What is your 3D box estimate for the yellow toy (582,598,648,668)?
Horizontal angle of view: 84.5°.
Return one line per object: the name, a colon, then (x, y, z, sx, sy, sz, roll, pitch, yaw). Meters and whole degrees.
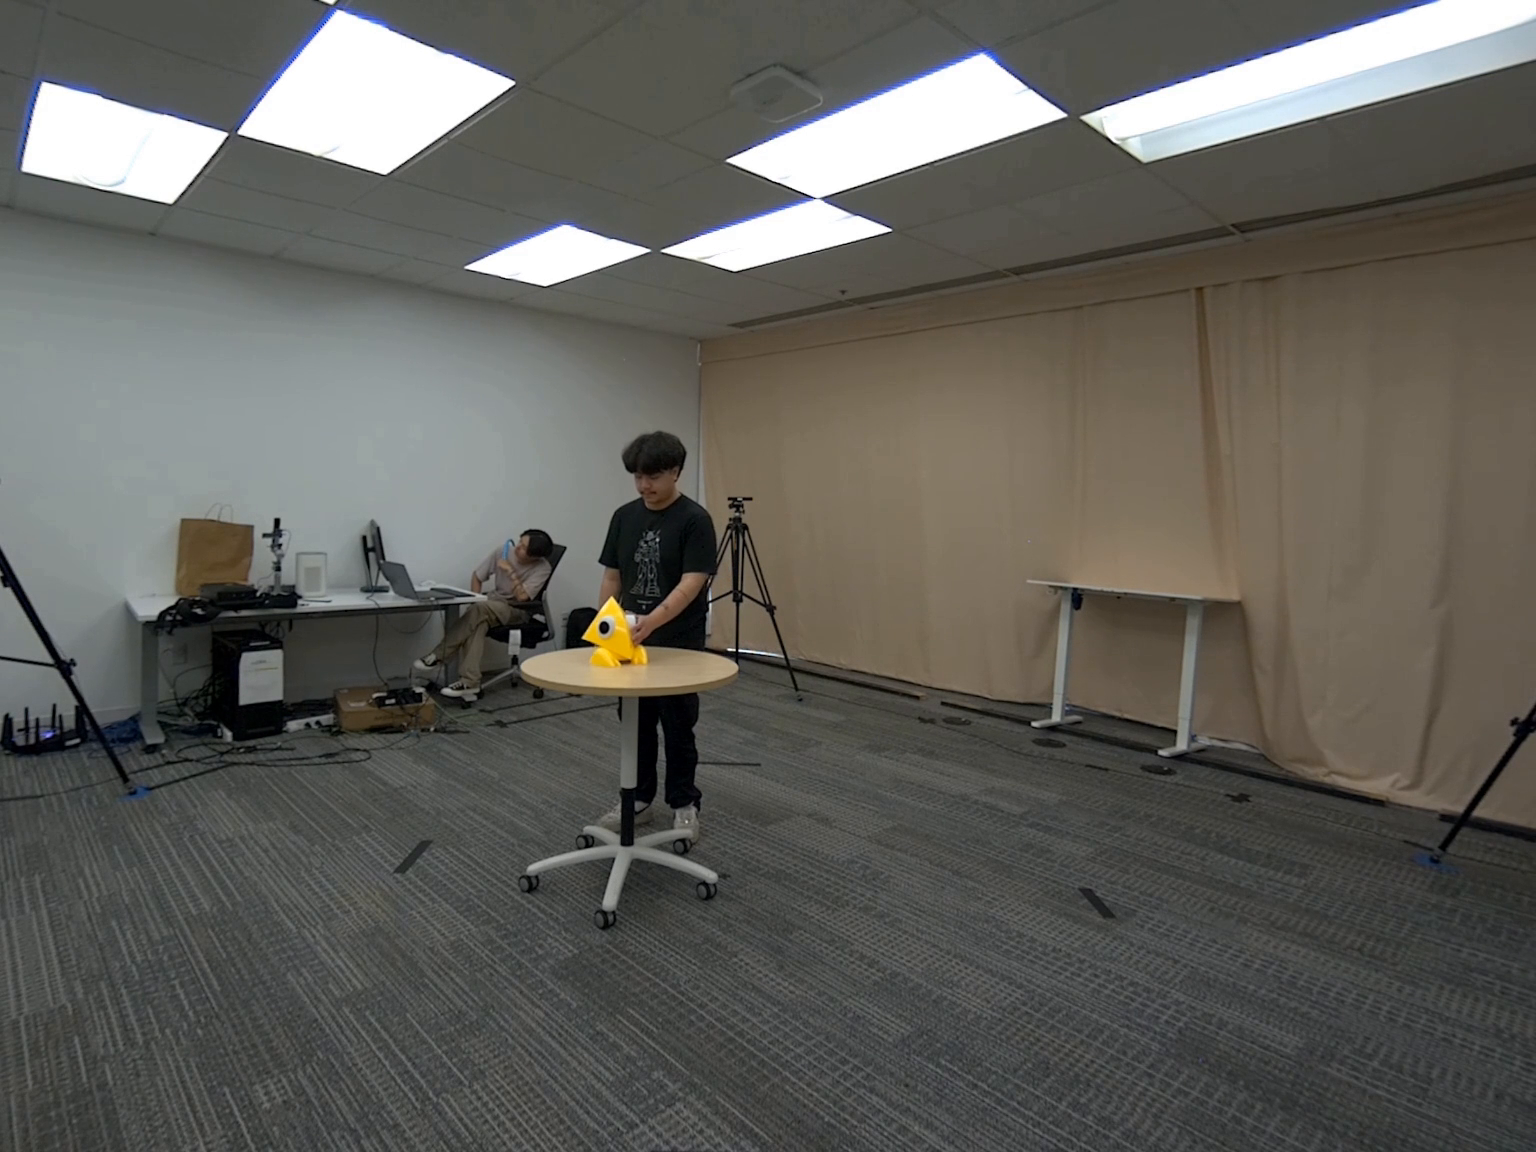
yellow toy: (-0.556, 0.198, 3.041, 0.200, 0.230, 0.198, 0, 5, -36)
